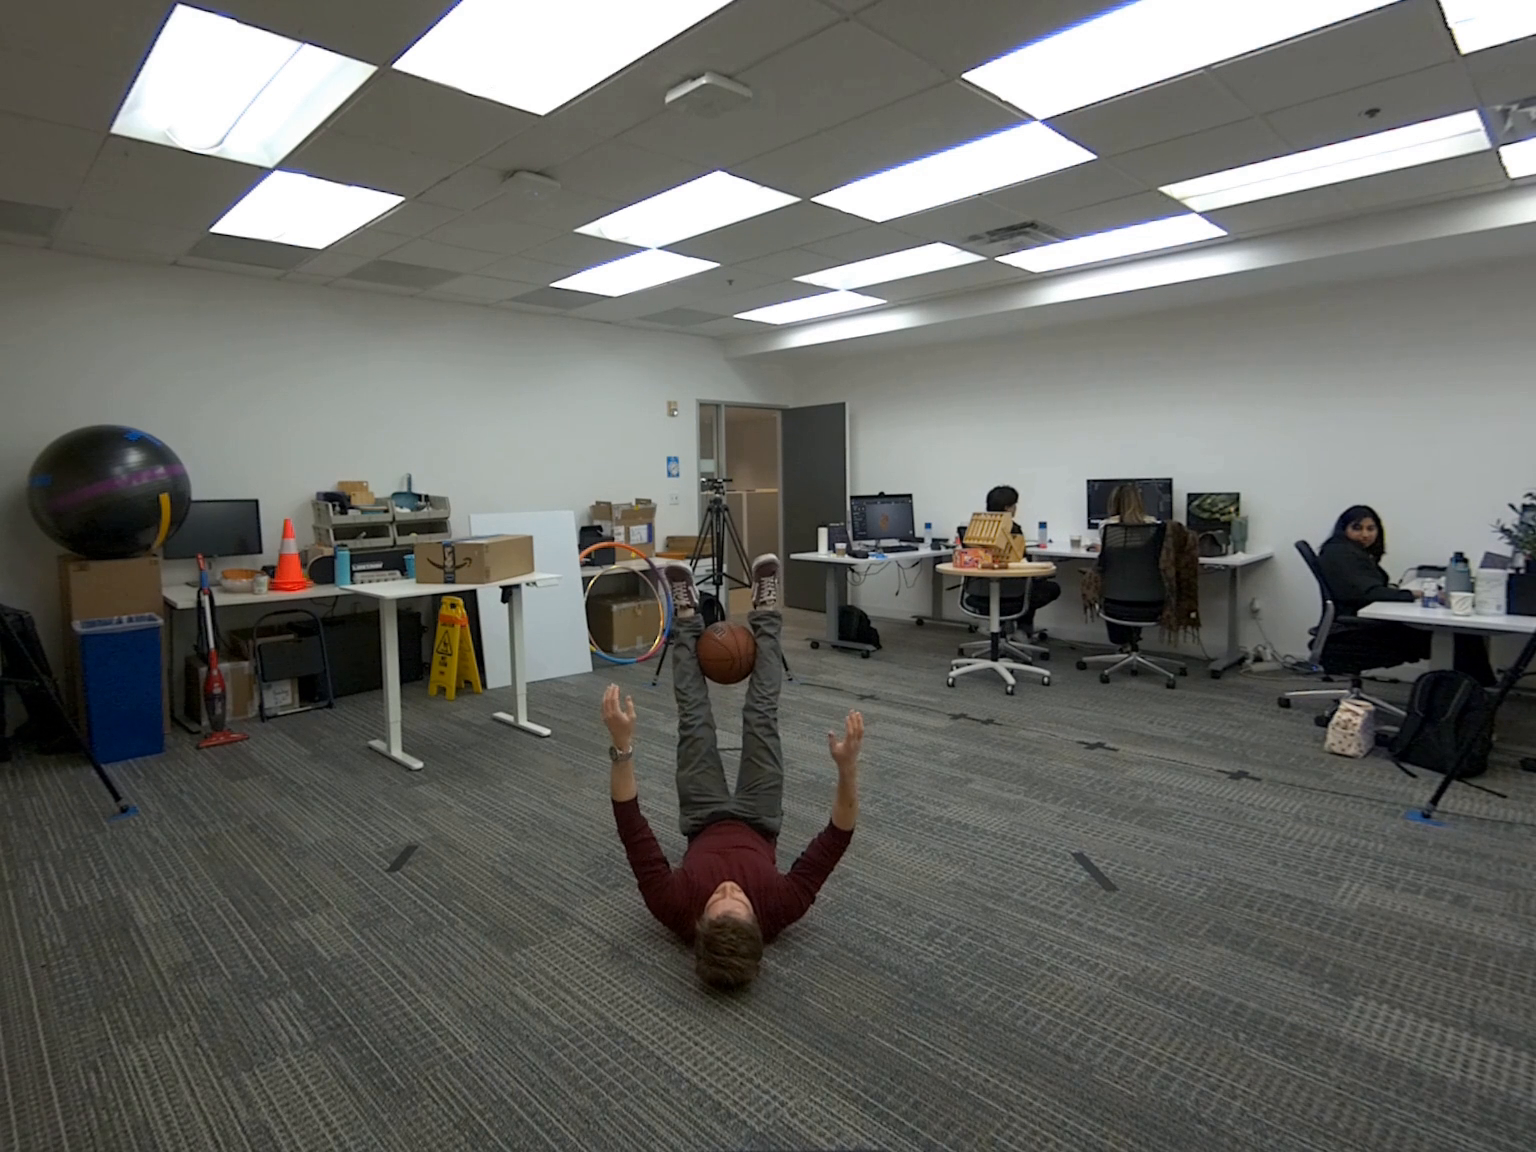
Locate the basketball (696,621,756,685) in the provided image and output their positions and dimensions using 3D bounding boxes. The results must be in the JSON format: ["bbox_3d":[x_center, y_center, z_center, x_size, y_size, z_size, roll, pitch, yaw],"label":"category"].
[{"bbox_3d":[-0.147,0.296,3.228,0.236,0.235,0.237,-1,5,-2],"label":"basketball"}]
